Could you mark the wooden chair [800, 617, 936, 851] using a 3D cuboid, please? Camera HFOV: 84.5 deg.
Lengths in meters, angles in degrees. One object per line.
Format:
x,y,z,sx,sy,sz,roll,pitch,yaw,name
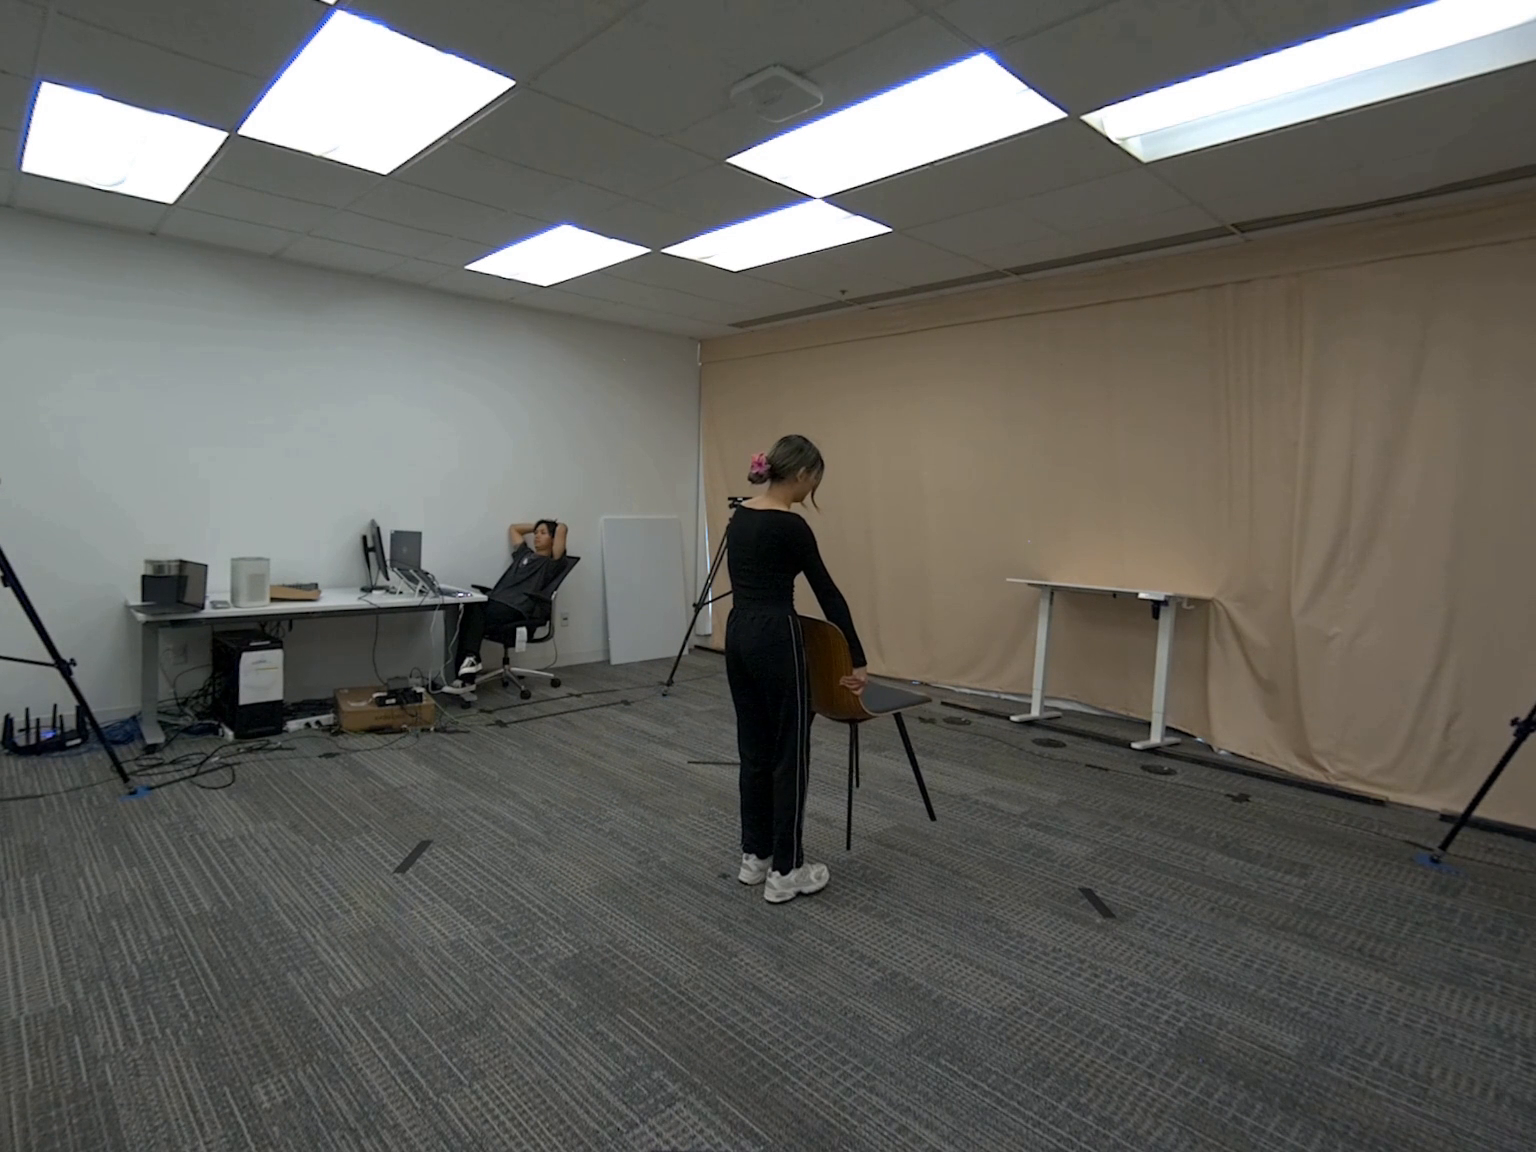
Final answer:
0.332,0.528,3.292,0.514,0.872,0.489,-10,9,-33,wooden chair
